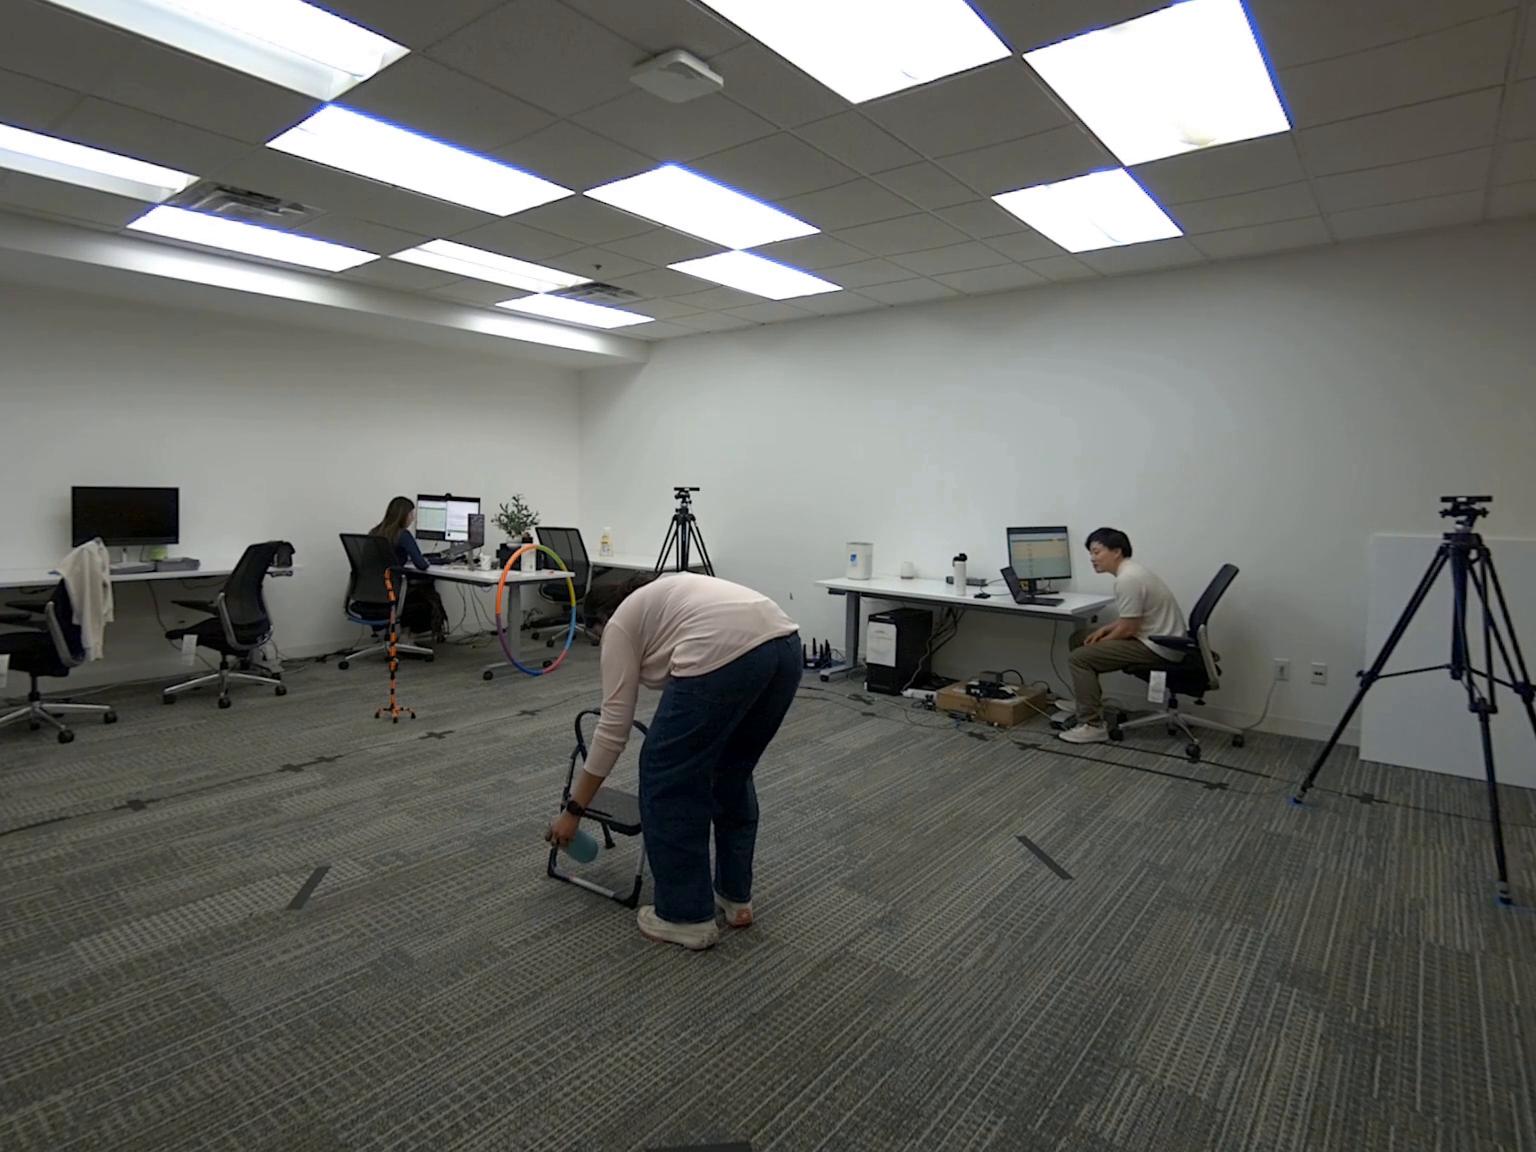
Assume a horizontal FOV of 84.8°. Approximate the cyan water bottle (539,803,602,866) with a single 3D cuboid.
[{"bbox_3d":[-0.648,0.851,2.765,0.094,0.094,0.273,2,-37,13],"label":"cyan water bottle"}]
